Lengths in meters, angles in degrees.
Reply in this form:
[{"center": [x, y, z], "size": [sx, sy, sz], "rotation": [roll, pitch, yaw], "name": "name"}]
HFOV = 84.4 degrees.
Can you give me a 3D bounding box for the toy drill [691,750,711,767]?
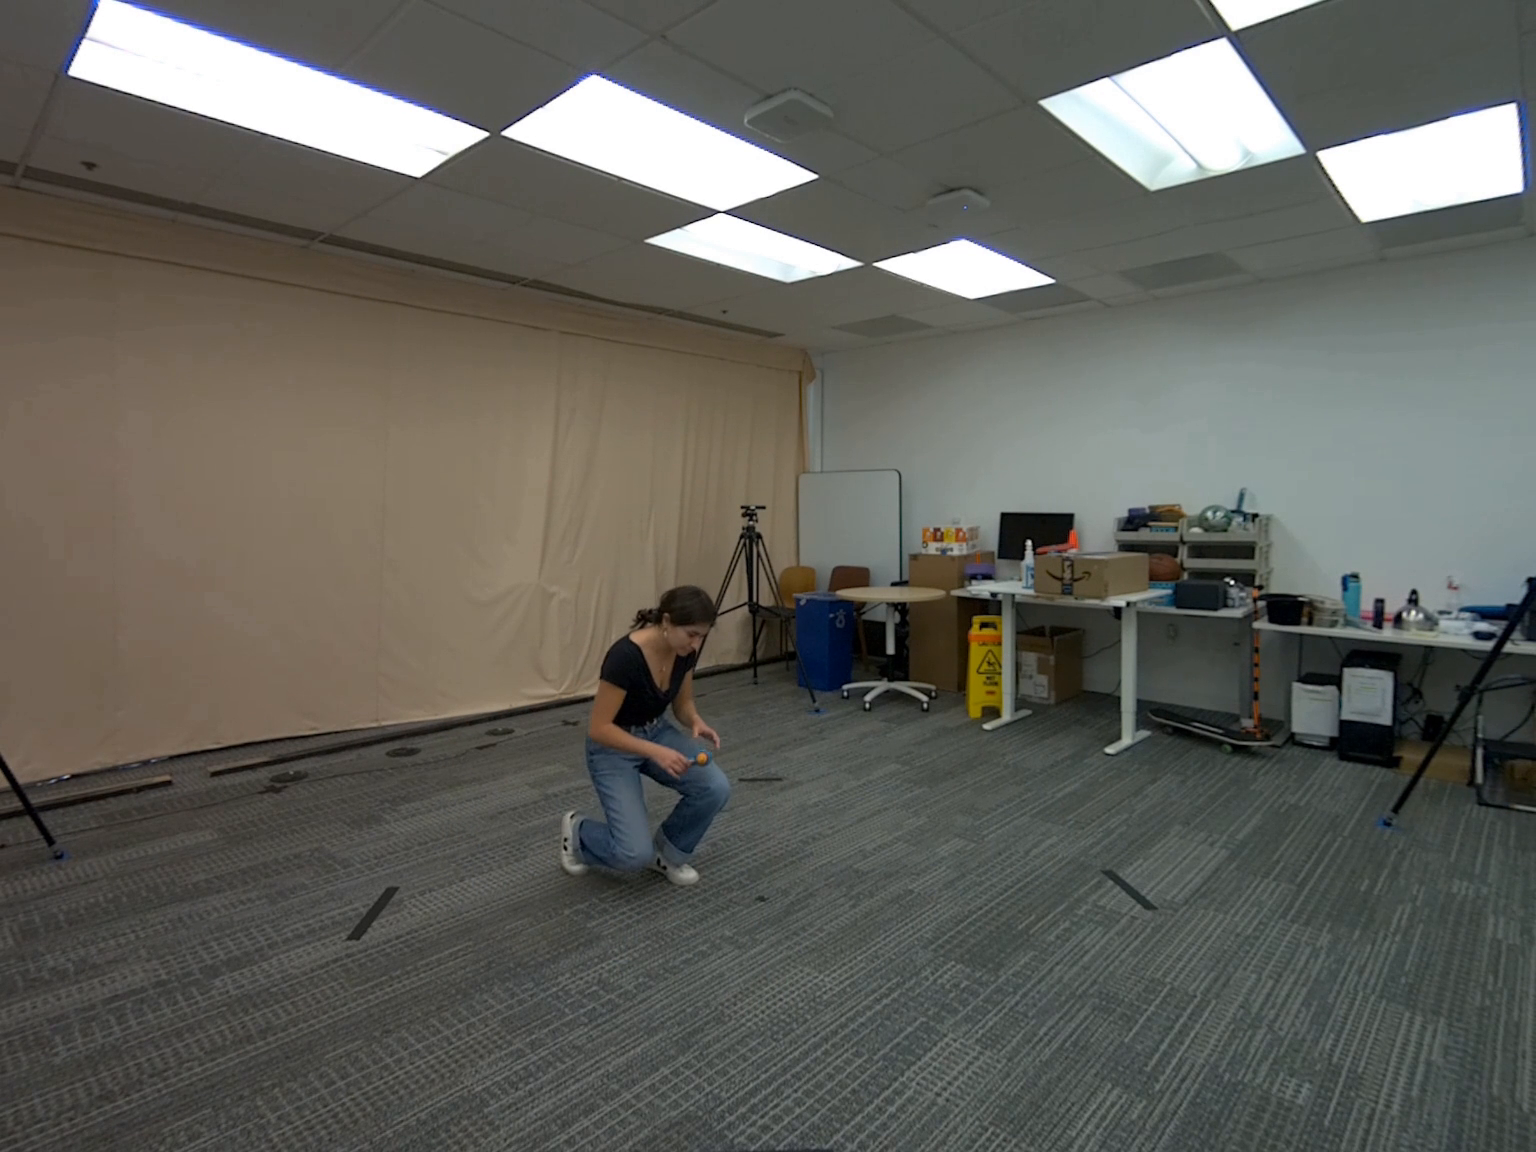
[{"center": [-0.261, 0.650, 2.900], "size": [0.146, 0.061, 0.168], "rotation": [-17, -7, 2], "name": "toy drill"}]
